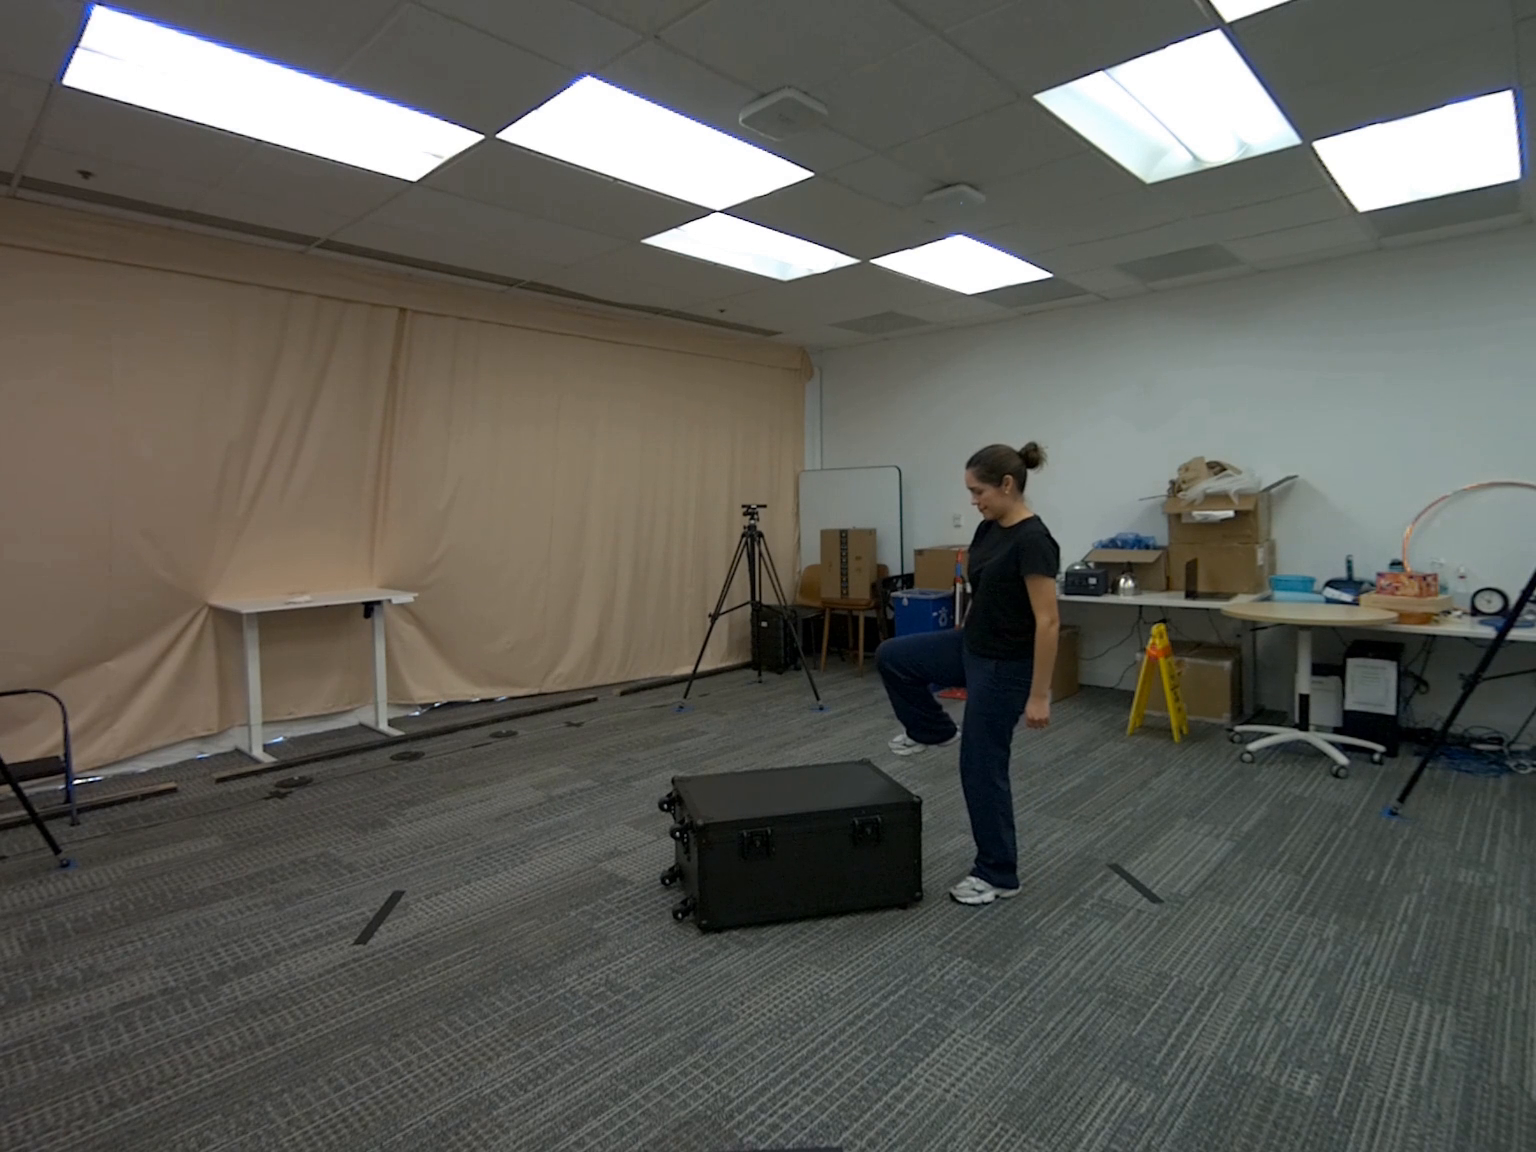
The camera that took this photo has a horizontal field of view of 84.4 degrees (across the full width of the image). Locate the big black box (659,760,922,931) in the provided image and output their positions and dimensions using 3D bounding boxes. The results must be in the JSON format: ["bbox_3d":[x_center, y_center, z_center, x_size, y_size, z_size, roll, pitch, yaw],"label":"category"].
[{"bbox_3d":[0.069,0.940,3.017,0.849,0.395,0.530,-1,4,-14],"label":"big black box"}]
